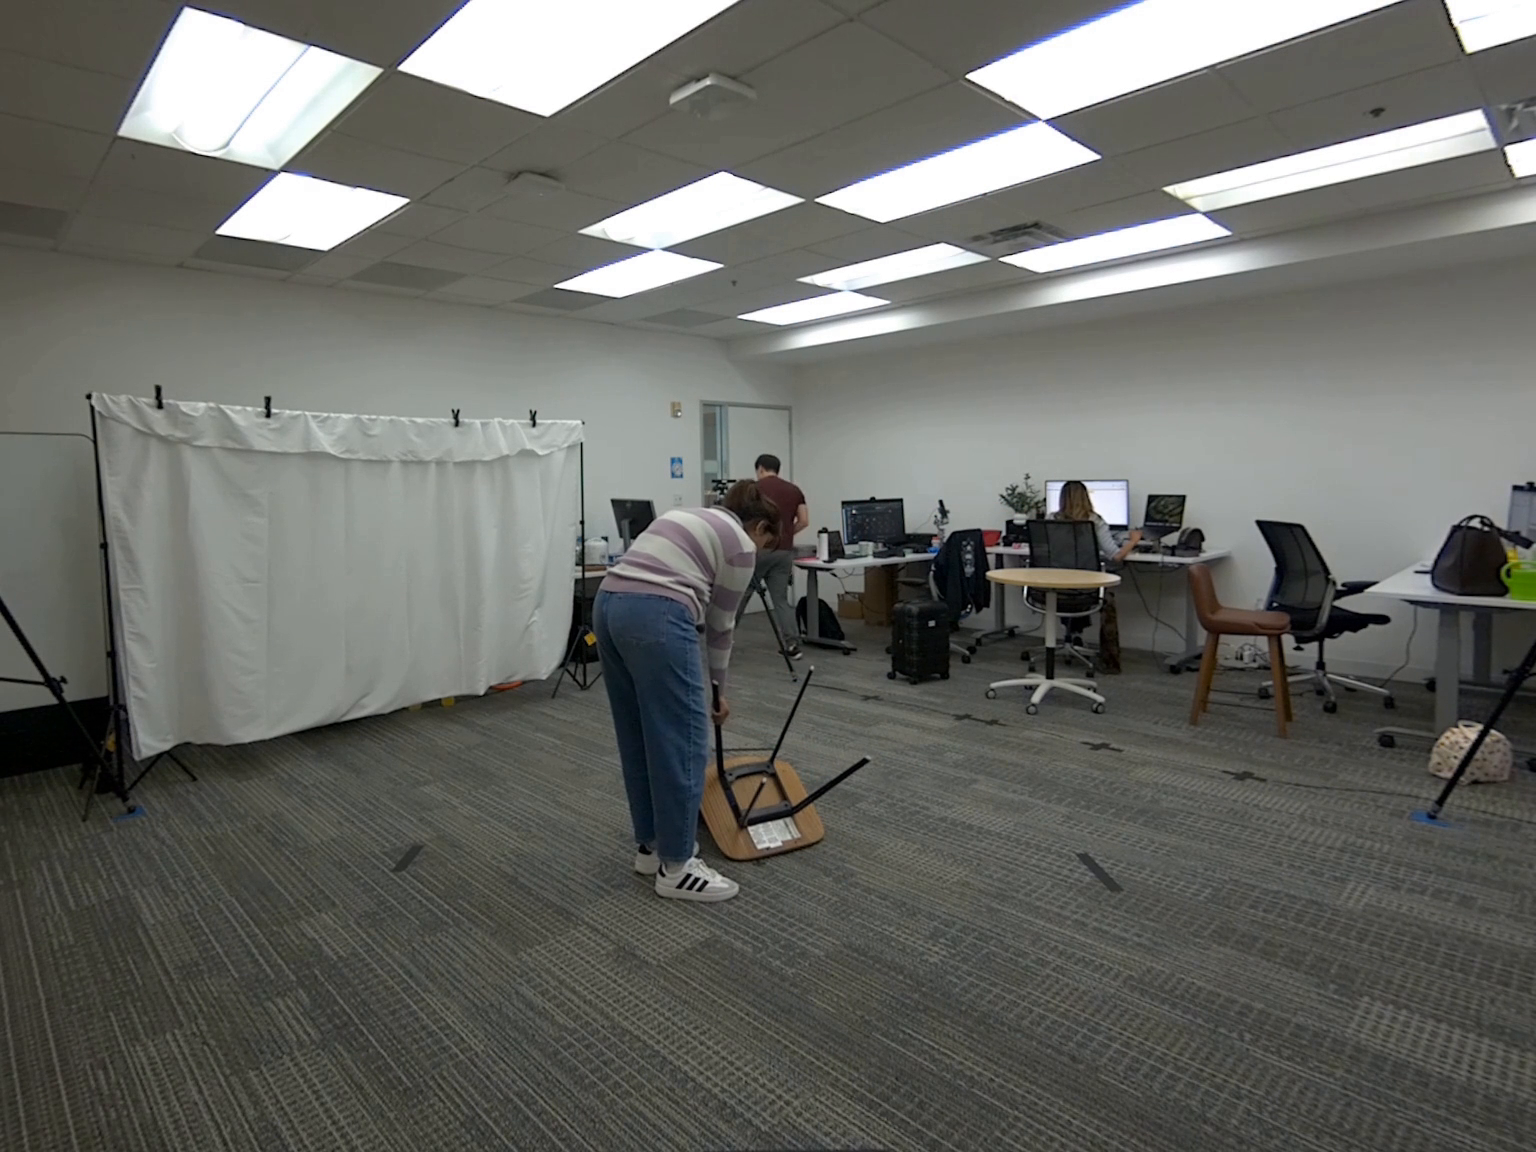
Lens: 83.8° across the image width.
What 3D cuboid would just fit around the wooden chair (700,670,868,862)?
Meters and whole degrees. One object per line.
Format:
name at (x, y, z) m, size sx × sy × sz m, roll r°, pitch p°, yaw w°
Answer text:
wooden chair at (-0.036, 0.849, 3.344) m, size 0.467 × 0.866 × 0.542 m, roll -4°, pitch 47°, yaw -31°
